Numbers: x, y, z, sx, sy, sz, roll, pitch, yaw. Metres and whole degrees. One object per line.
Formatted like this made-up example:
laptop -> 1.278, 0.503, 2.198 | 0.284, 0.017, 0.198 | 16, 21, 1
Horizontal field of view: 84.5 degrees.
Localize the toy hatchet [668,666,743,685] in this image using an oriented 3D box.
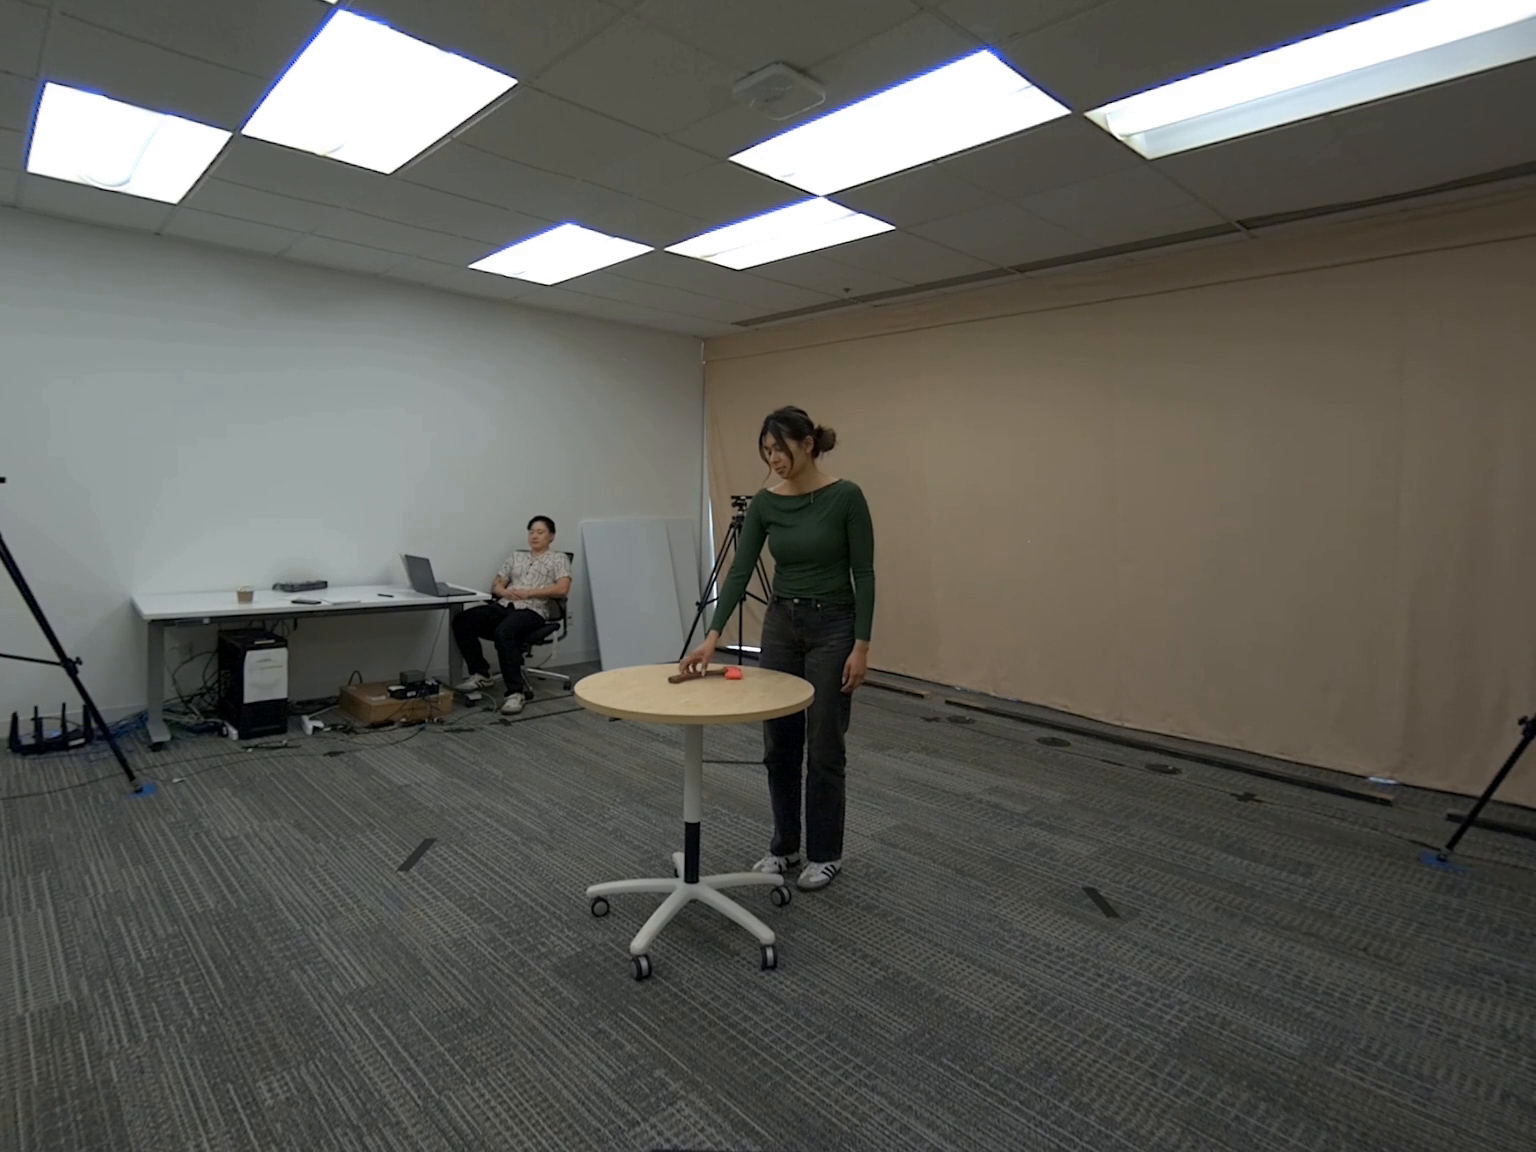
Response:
toy hatchet -> -0.205, 0.338, 2.792 | 0.134, 0.029, 0.264 | 10, 11, 42
